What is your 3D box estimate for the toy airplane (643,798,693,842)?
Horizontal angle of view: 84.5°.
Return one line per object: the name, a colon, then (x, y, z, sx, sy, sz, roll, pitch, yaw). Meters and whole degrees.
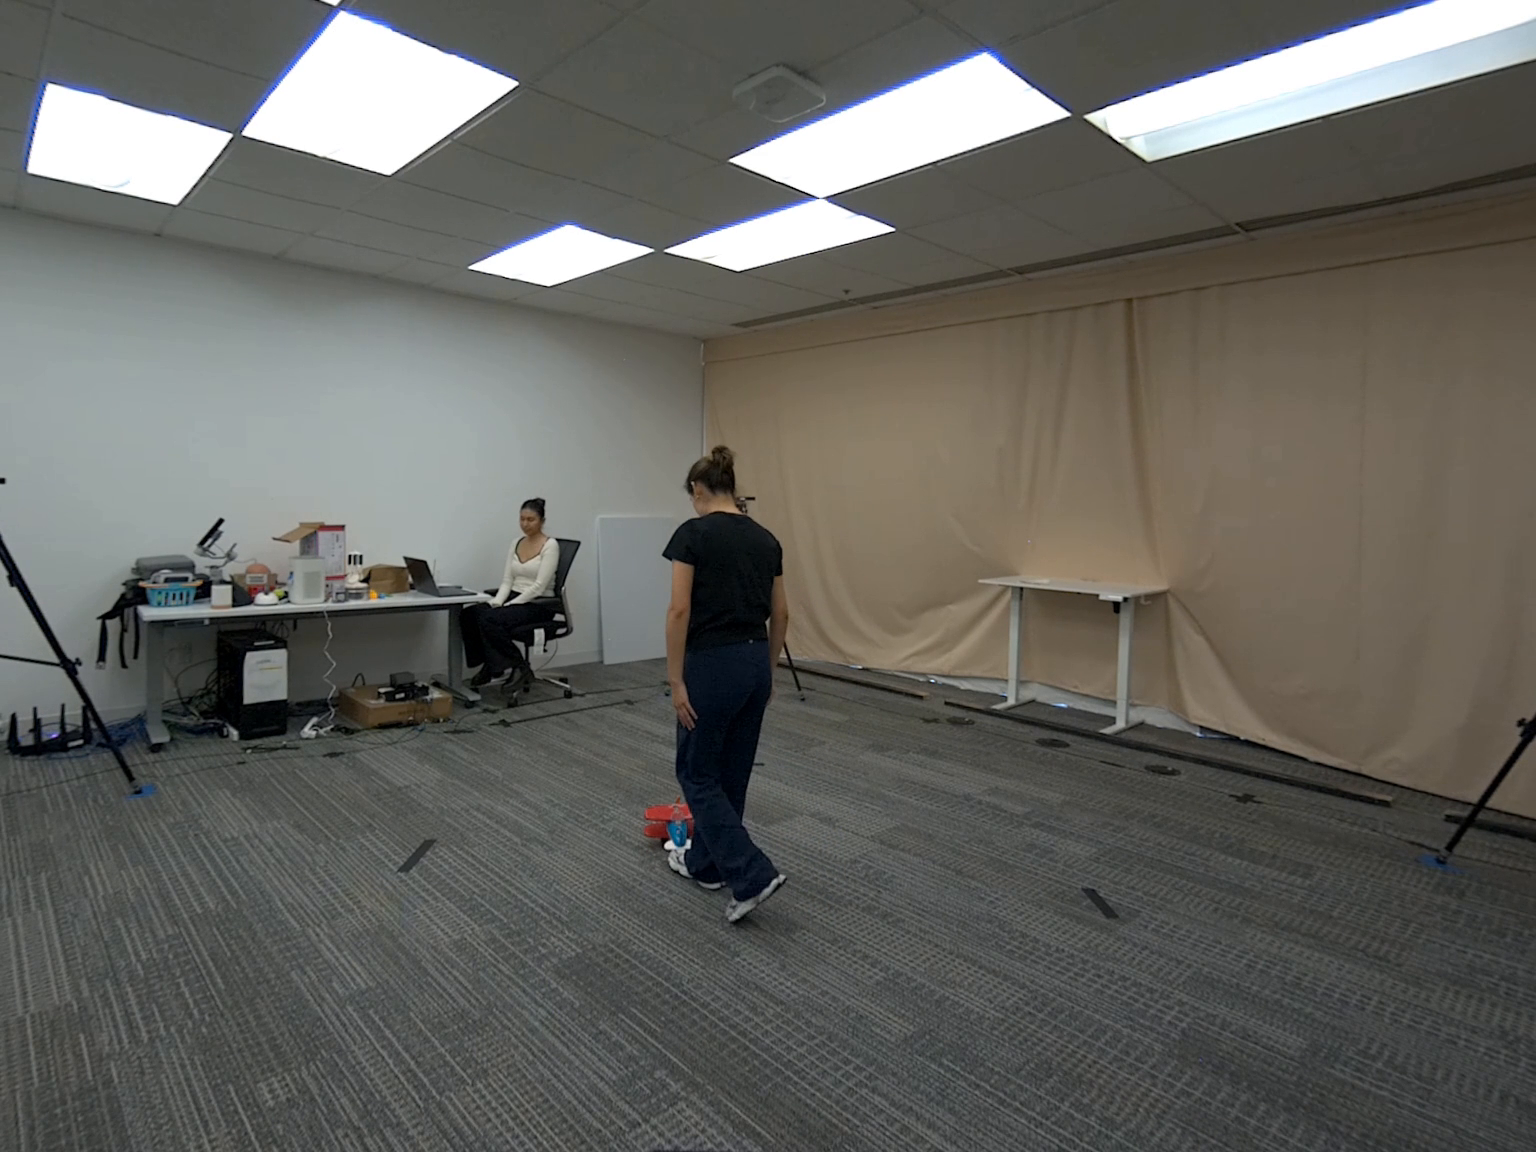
toy airplane: (-0.350, 1.006, 3.320, 0.245, 0.156, 0.266, -2, 5, -37)
